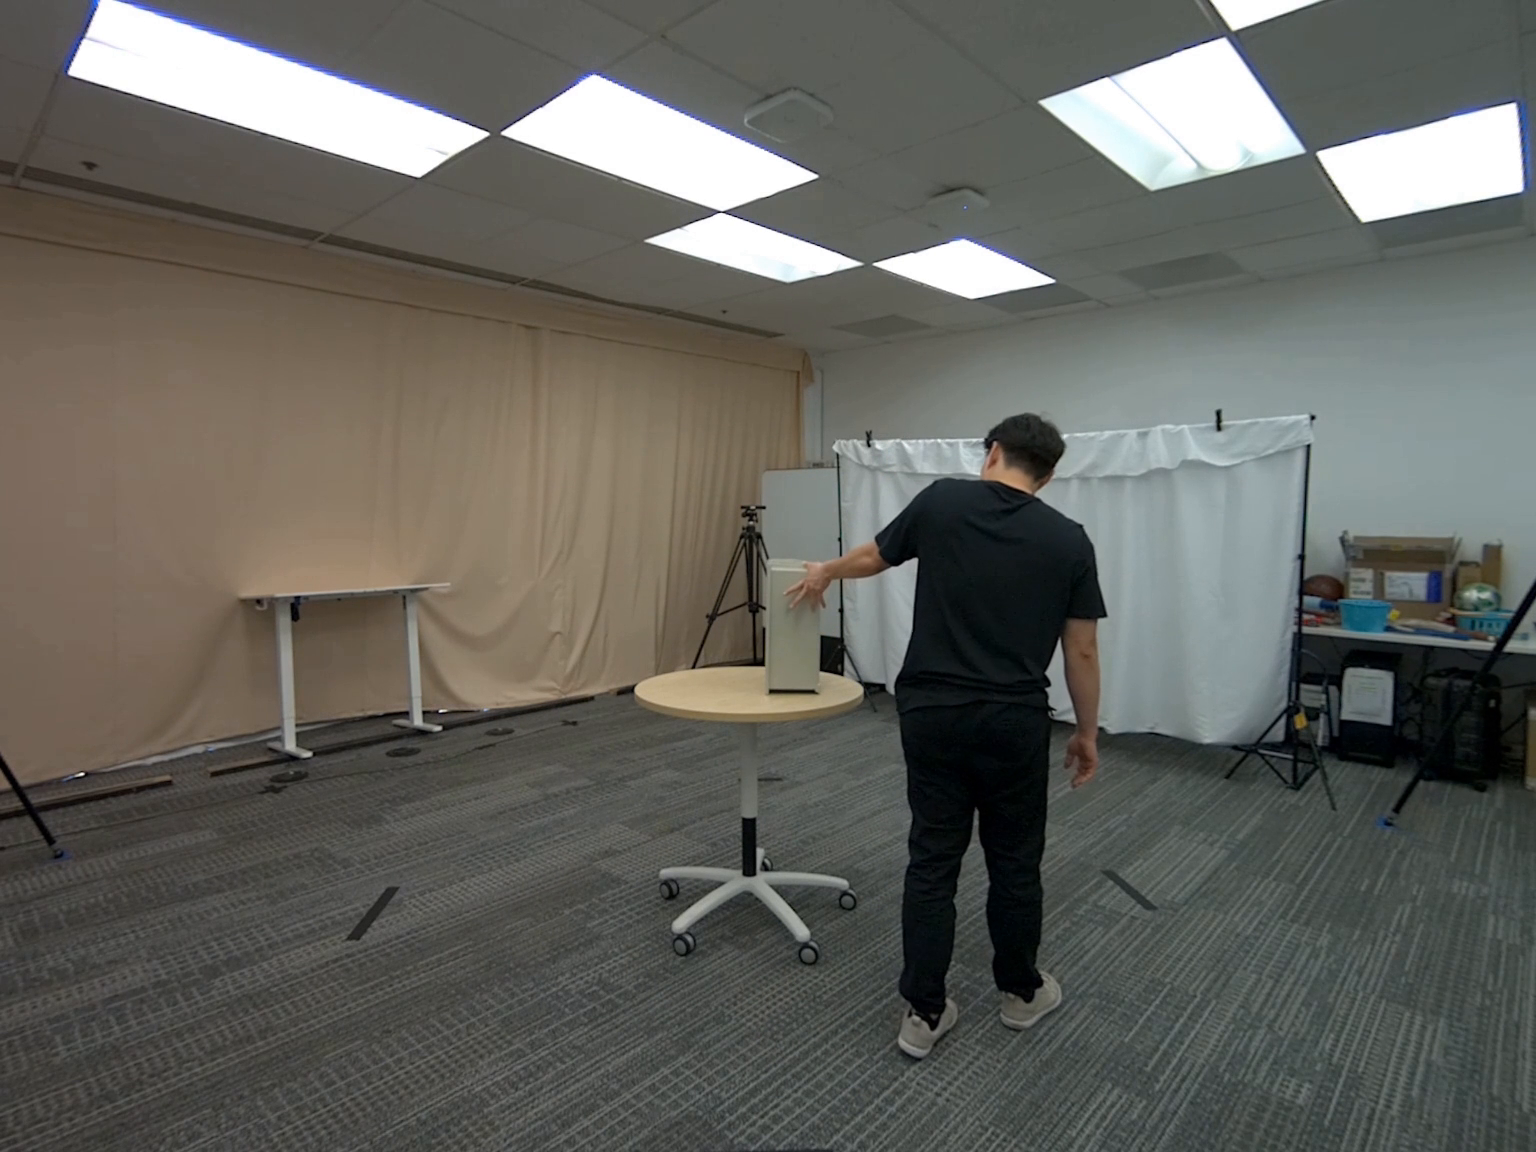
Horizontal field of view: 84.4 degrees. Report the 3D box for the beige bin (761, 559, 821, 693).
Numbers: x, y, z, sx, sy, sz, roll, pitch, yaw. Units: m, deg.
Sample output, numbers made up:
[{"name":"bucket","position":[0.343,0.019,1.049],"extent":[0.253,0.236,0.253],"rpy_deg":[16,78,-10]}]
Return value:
[{"name":"beige bin","position":[0.083,0.161,2.870],"extent":[0.189,0.422,0.377],"rpy_deg":[0,2,0]}]
